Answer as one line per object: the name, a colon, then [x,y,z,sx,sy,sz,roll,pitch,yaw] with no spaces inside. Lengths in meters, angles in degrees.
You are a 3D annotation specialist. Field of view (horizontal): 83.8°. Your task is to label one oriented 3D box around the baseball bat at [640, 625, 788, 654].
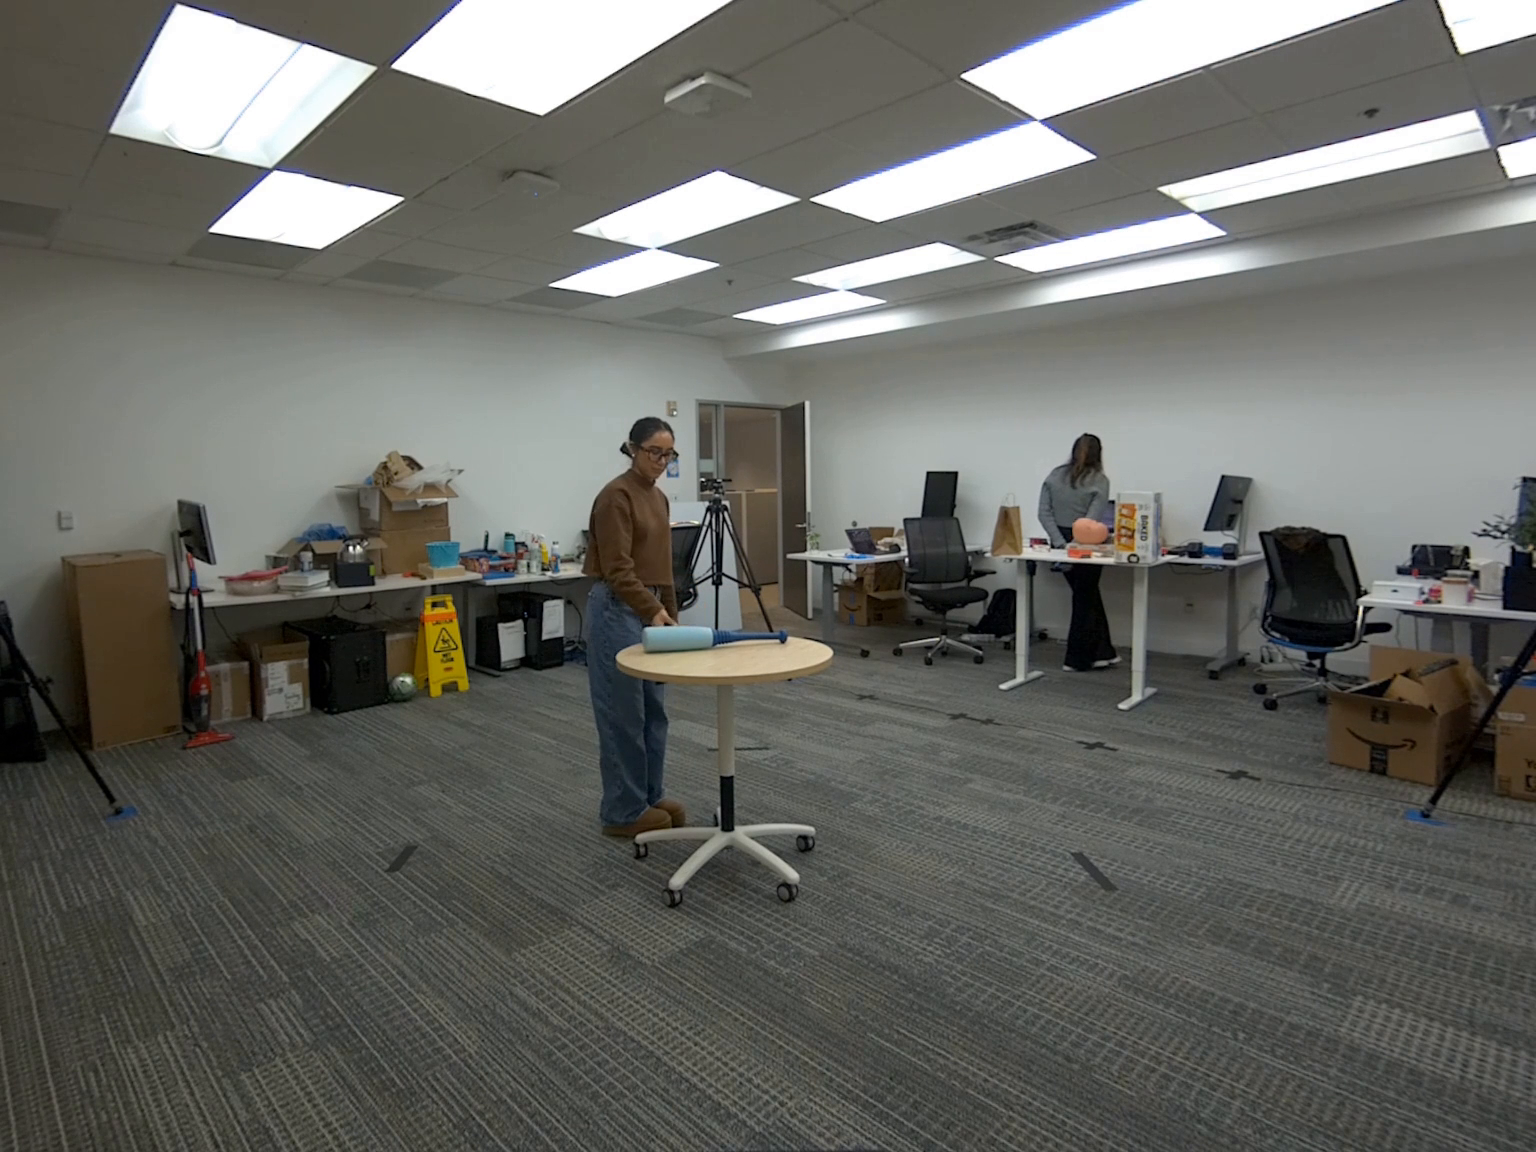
baseball bat: [-0.190,0.225,3.123,0.535,0.089,0.090,0,4,-16]
